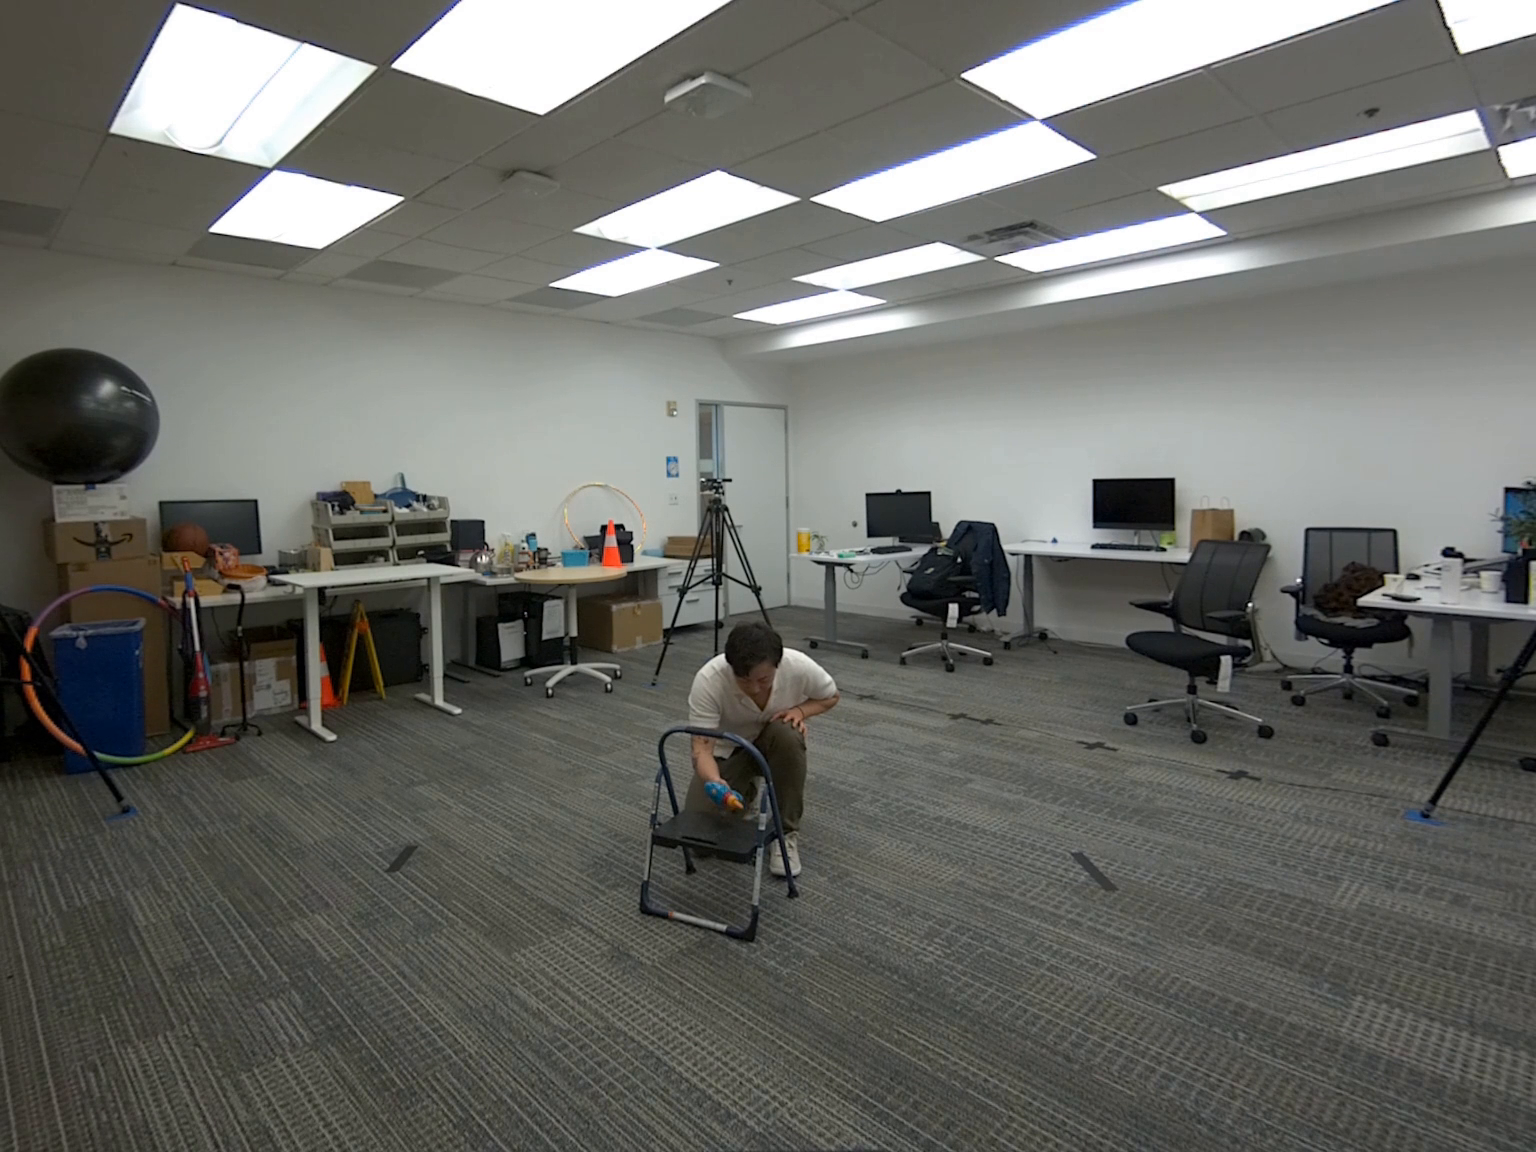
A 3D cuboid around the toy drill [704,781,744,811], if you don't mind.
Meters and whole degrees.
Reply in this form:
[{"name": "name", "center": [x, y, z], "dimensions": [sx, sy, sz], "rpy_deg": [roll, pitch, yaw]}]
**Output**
[{"name": "toy drill", "center": [-0.124, 0.729, 2.773], "dimensions": [0.176, 0.061, 0.140], "rpy_deg": [18, -11, 41]}]
